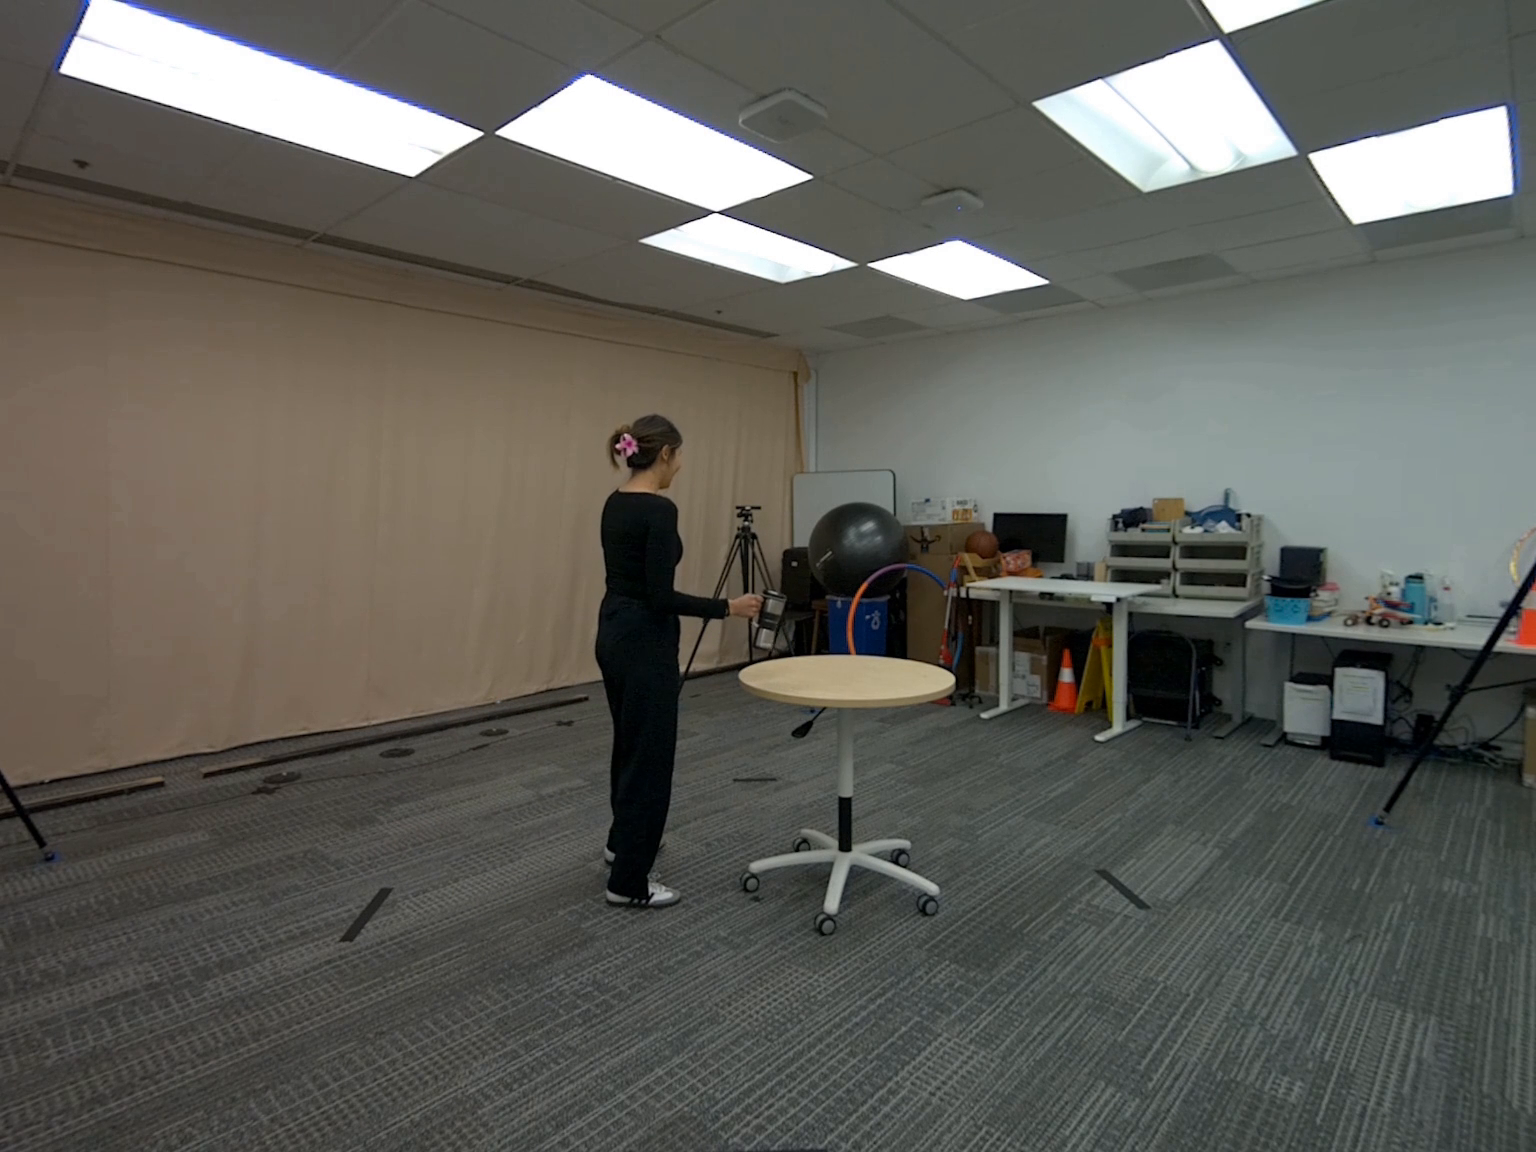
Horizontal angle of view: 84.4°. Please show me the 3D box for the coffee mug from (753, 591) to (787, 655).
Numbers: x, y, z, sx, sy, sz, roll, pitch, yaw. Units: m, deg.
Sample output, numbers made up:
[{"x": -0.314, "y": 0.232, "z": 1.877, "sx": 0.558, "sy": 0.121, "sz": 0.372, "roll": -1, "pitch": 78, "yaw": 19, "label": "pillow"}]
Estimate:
[{"x": -0.013, "y": 0.154, "z": 2.906, "sx": 0.126, "sy": 0.202, "sz": 0.085, "roll": 21, "pitch": 12, "yaw": 33, "label": "coffee mug"}]
